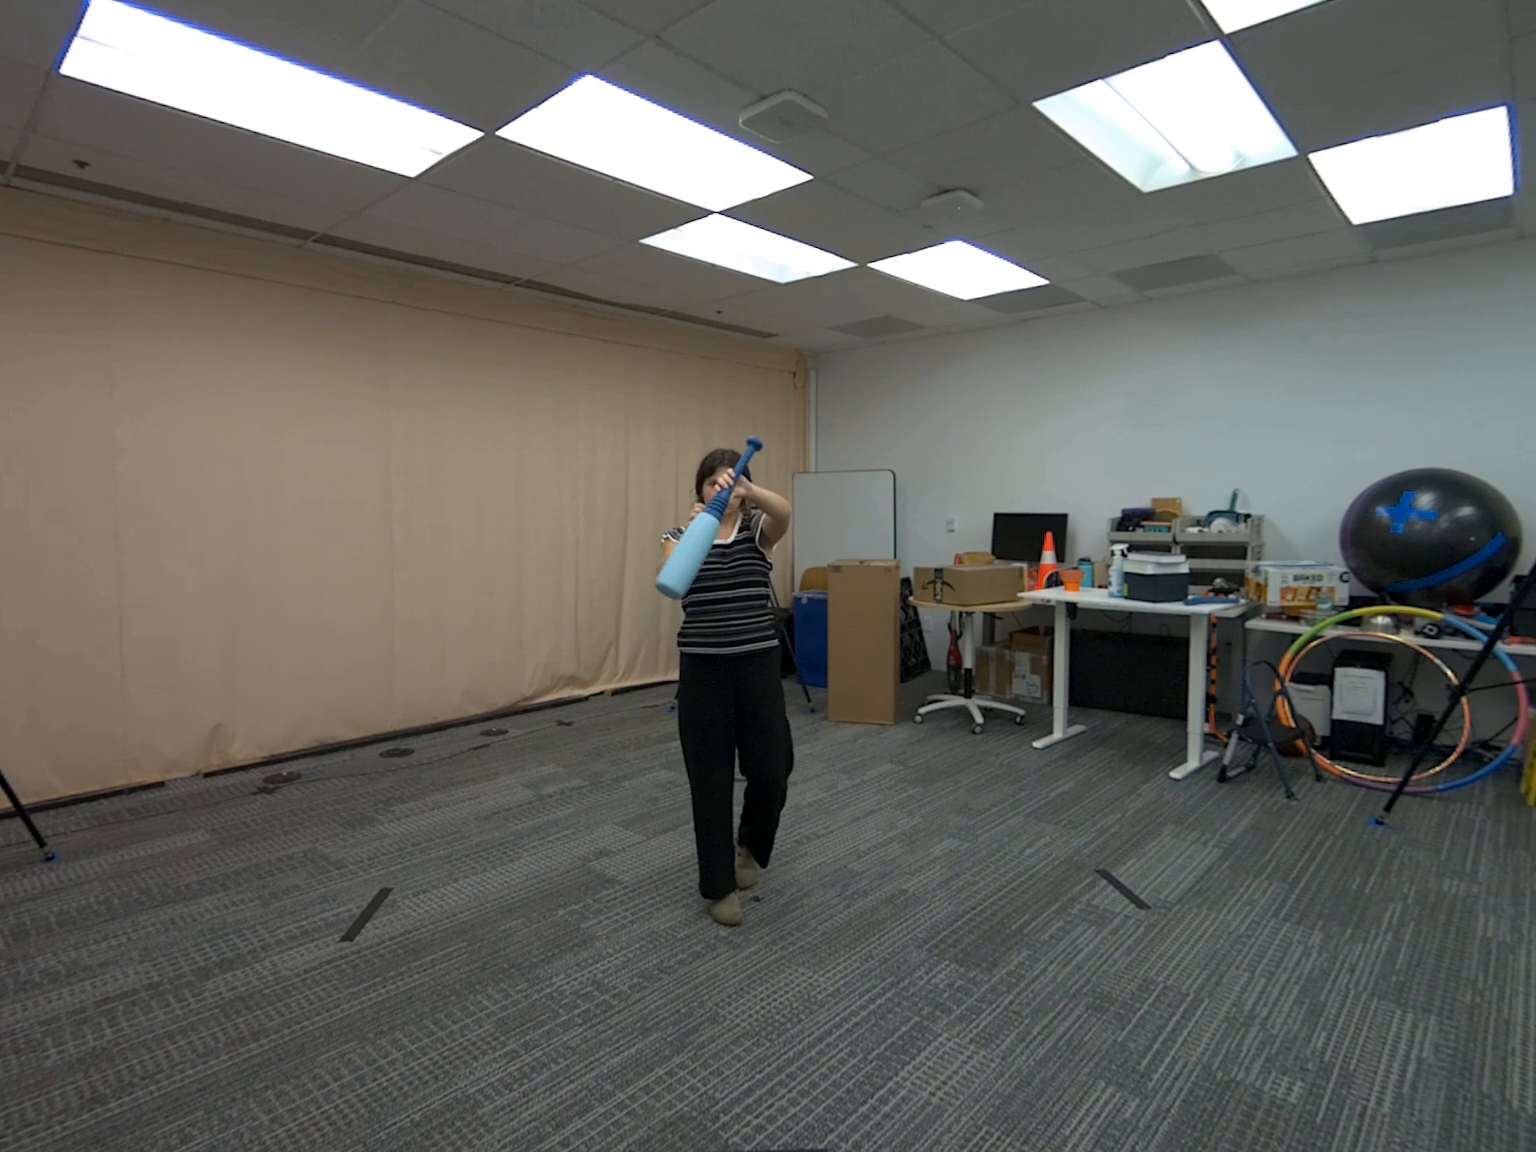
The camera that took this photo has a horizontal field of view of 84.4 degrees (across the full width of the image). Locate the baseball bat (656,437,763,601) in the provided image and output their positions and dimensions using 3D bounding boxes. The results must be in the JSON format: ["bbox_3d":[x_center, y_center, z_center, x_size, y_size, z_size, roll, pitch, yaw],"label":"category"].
[{"bbox_3d":[-0.149,-0.175,2.370,0.090,0.543,0.088,25,-21,8],"label":"baseball bat"}]
